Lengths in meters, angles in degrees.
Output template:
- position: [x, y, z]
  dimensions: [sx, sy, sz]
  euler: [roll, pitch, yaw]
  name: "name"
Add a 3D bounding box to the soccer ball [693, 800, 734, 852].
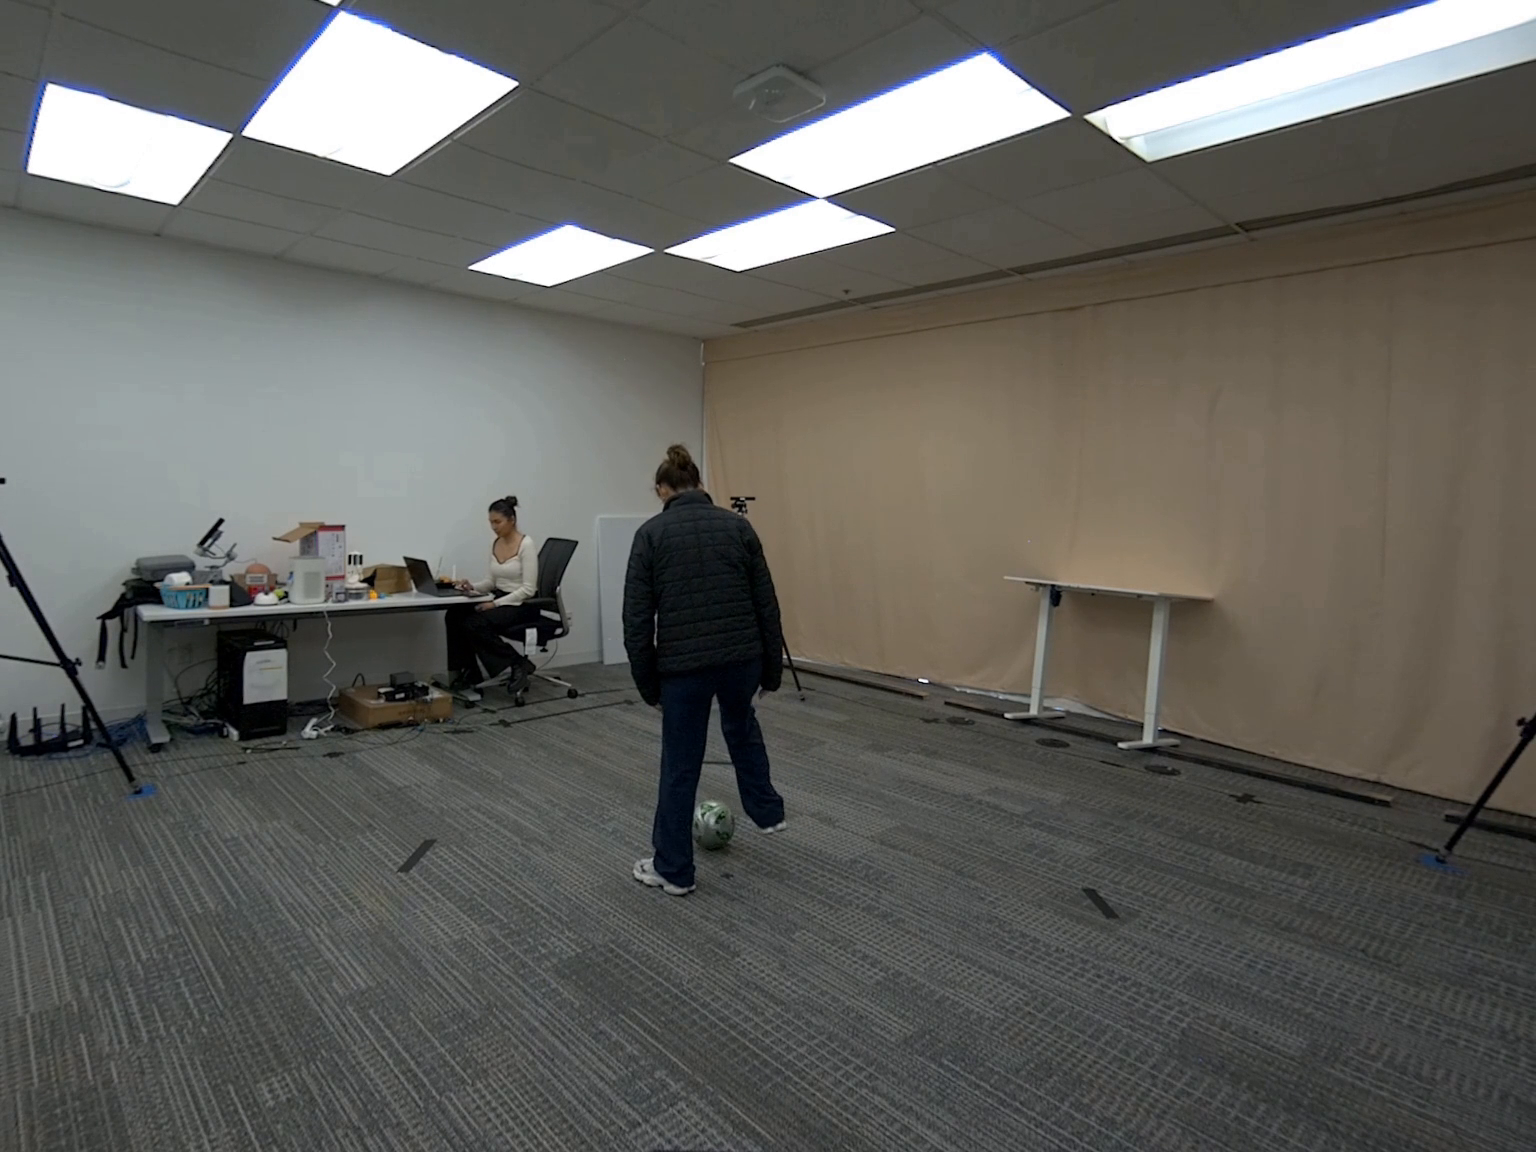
- position: [-0.230, 0.990, 3.357]
  dimensions: [0.187, 0.187, 0.188]
  euler: [1, 4, -1]
  name: "soccer ball"
